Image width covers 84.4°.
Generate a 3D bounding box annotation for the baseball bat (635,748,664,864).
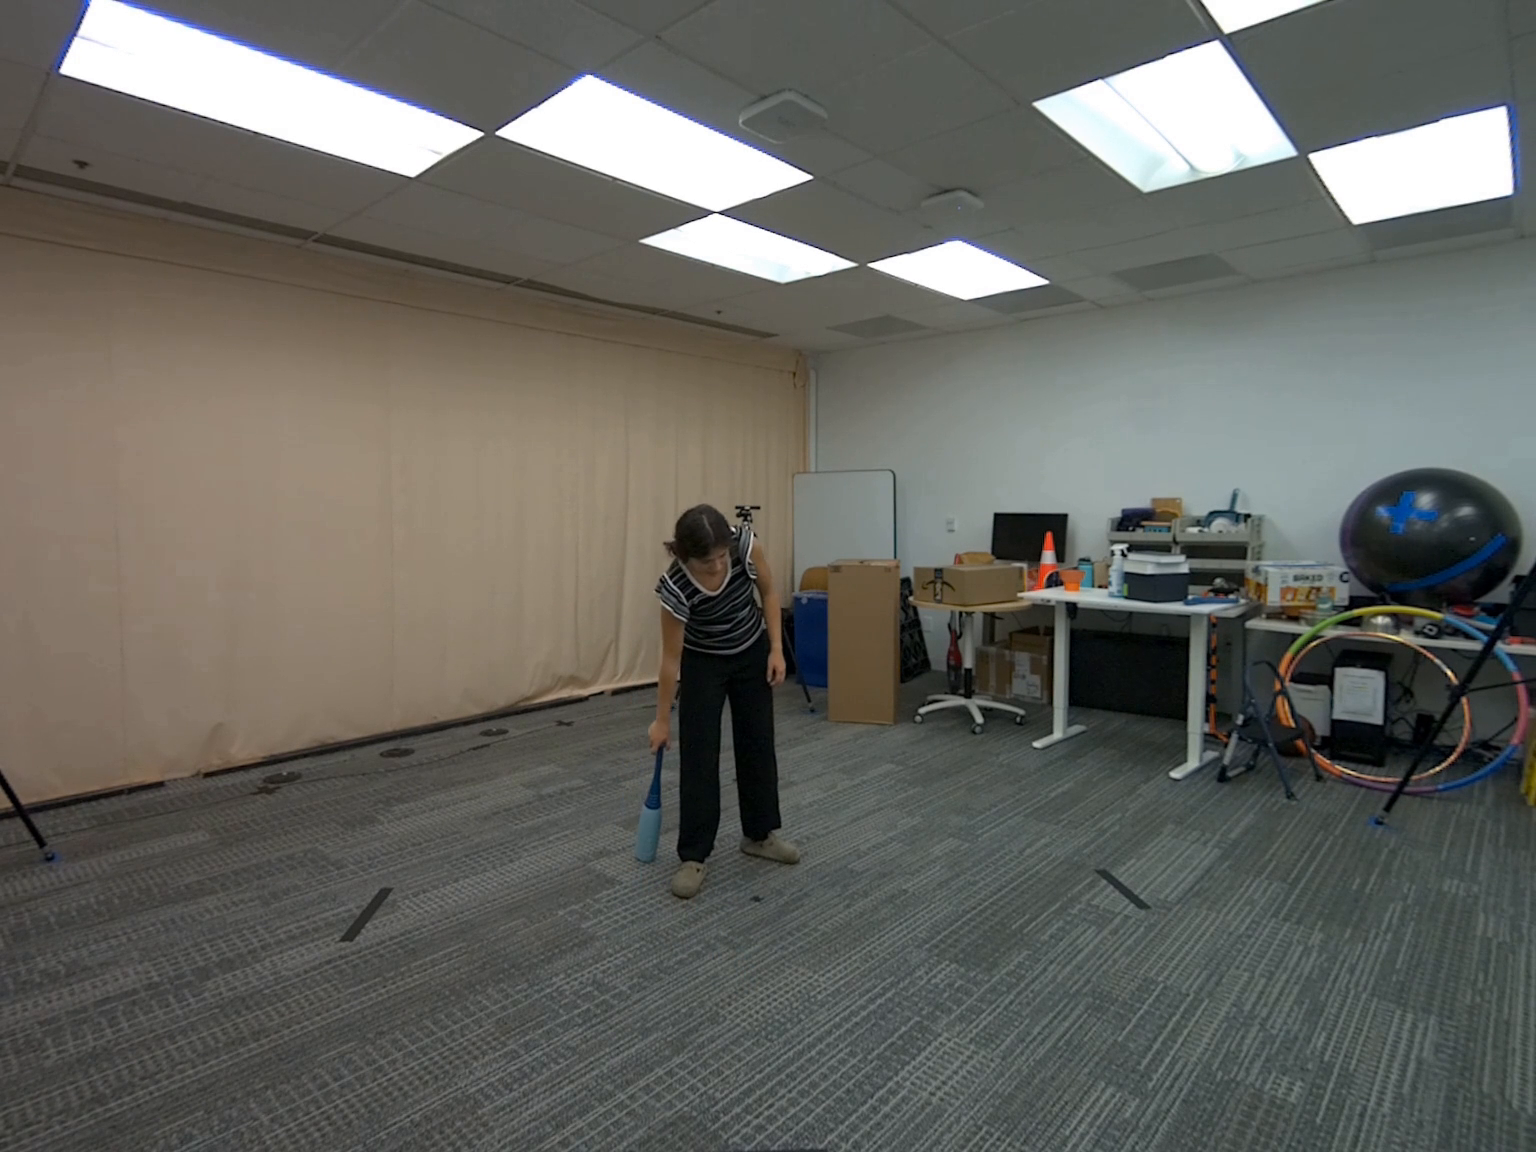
[{"bbox_3d":[-0.441,0.869,3.251,0.088,0.539,0.090,9,18,-5],"label":"baseball bat"}]
